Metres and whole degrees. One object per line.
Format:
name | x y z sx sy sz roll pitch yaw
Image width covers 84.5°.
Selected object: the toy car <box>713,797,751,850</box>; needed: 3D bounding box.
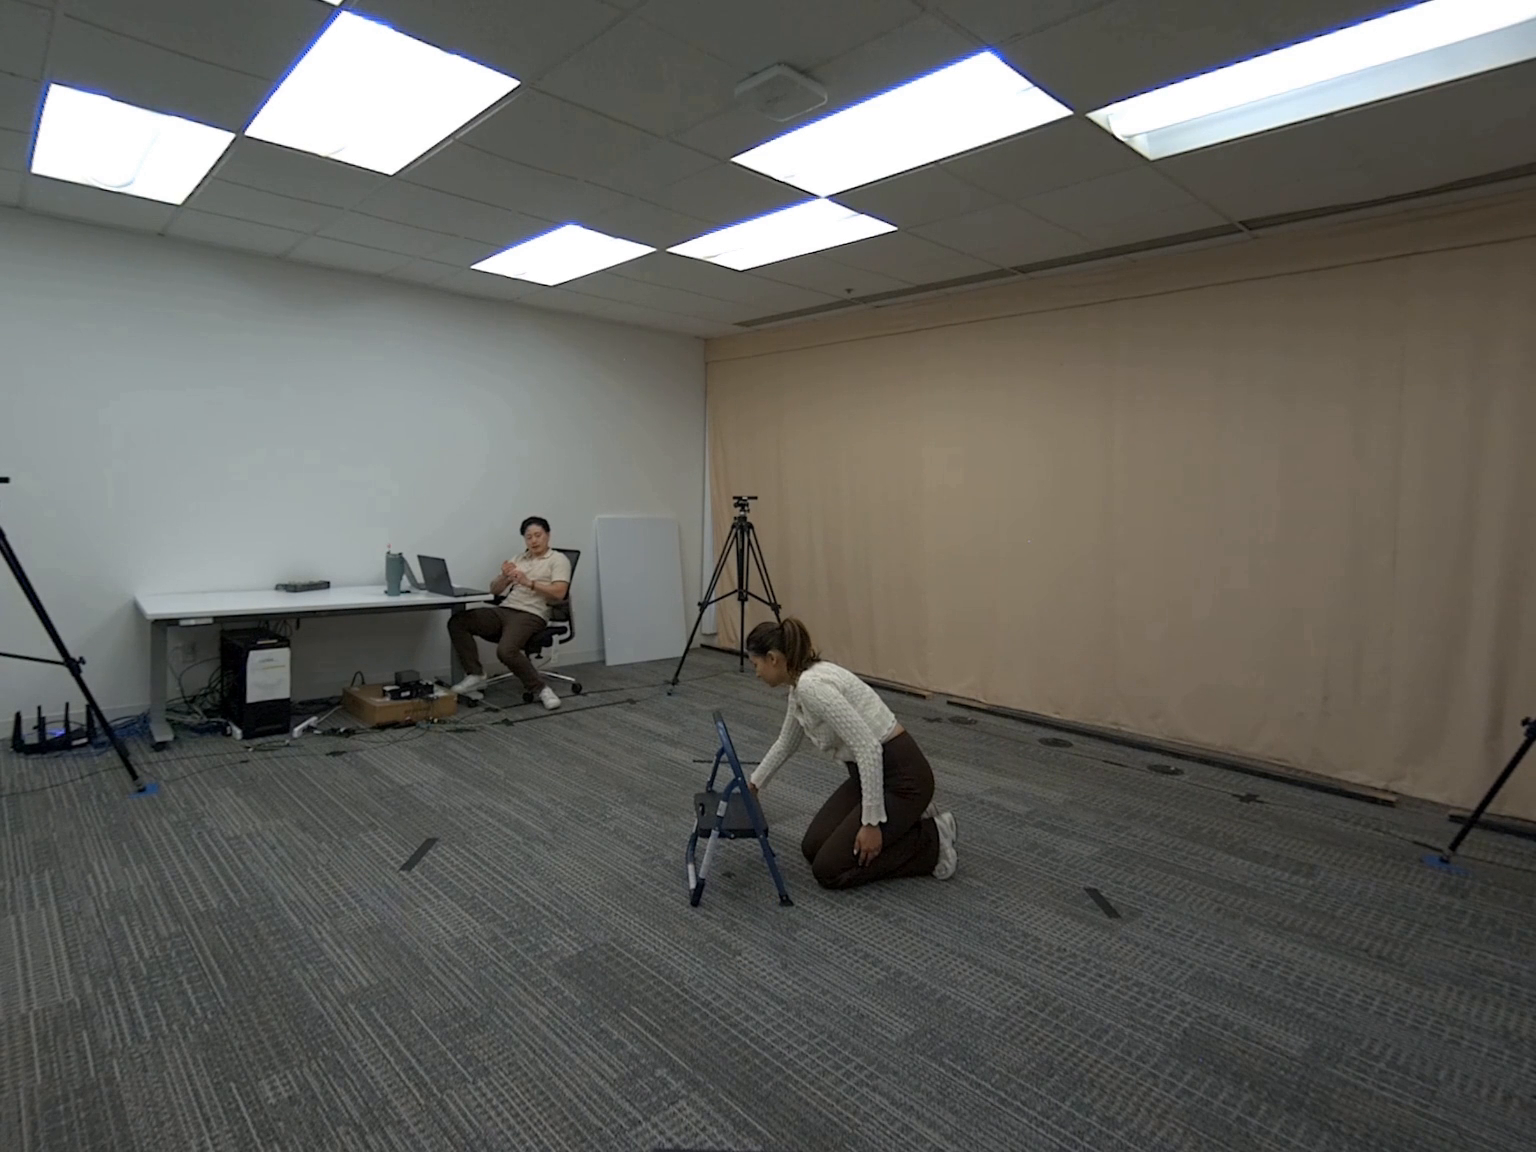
toy car | -0.149 1.037 3.565 0.131 0.082 0.256 0 15 4
